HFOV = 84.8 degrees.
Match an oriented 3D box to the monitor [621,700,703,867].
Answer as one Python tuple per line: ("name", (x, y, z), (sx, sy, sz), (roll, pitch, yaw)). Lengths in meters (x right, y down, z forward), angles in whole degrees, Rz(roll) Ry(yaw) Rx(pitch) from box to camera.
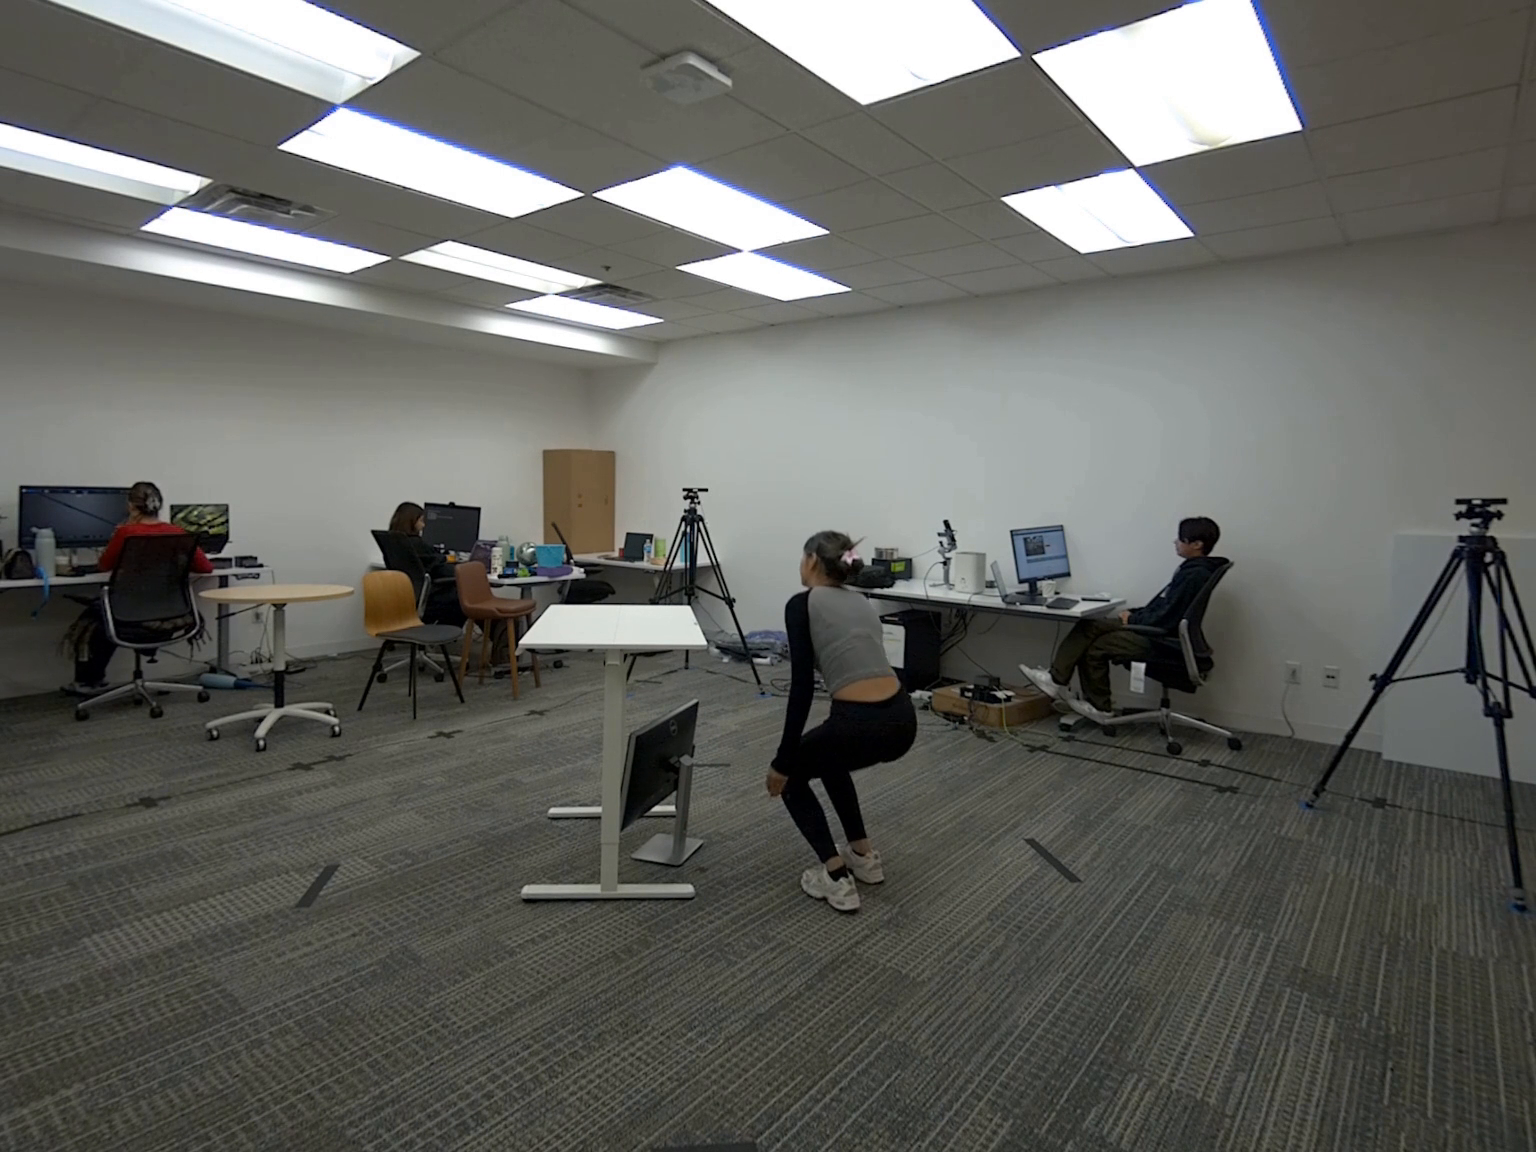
("monitor", (-0.391, 0.796, 3.252), (0.191, 0.521, 0.529), (0, 3, 19))
